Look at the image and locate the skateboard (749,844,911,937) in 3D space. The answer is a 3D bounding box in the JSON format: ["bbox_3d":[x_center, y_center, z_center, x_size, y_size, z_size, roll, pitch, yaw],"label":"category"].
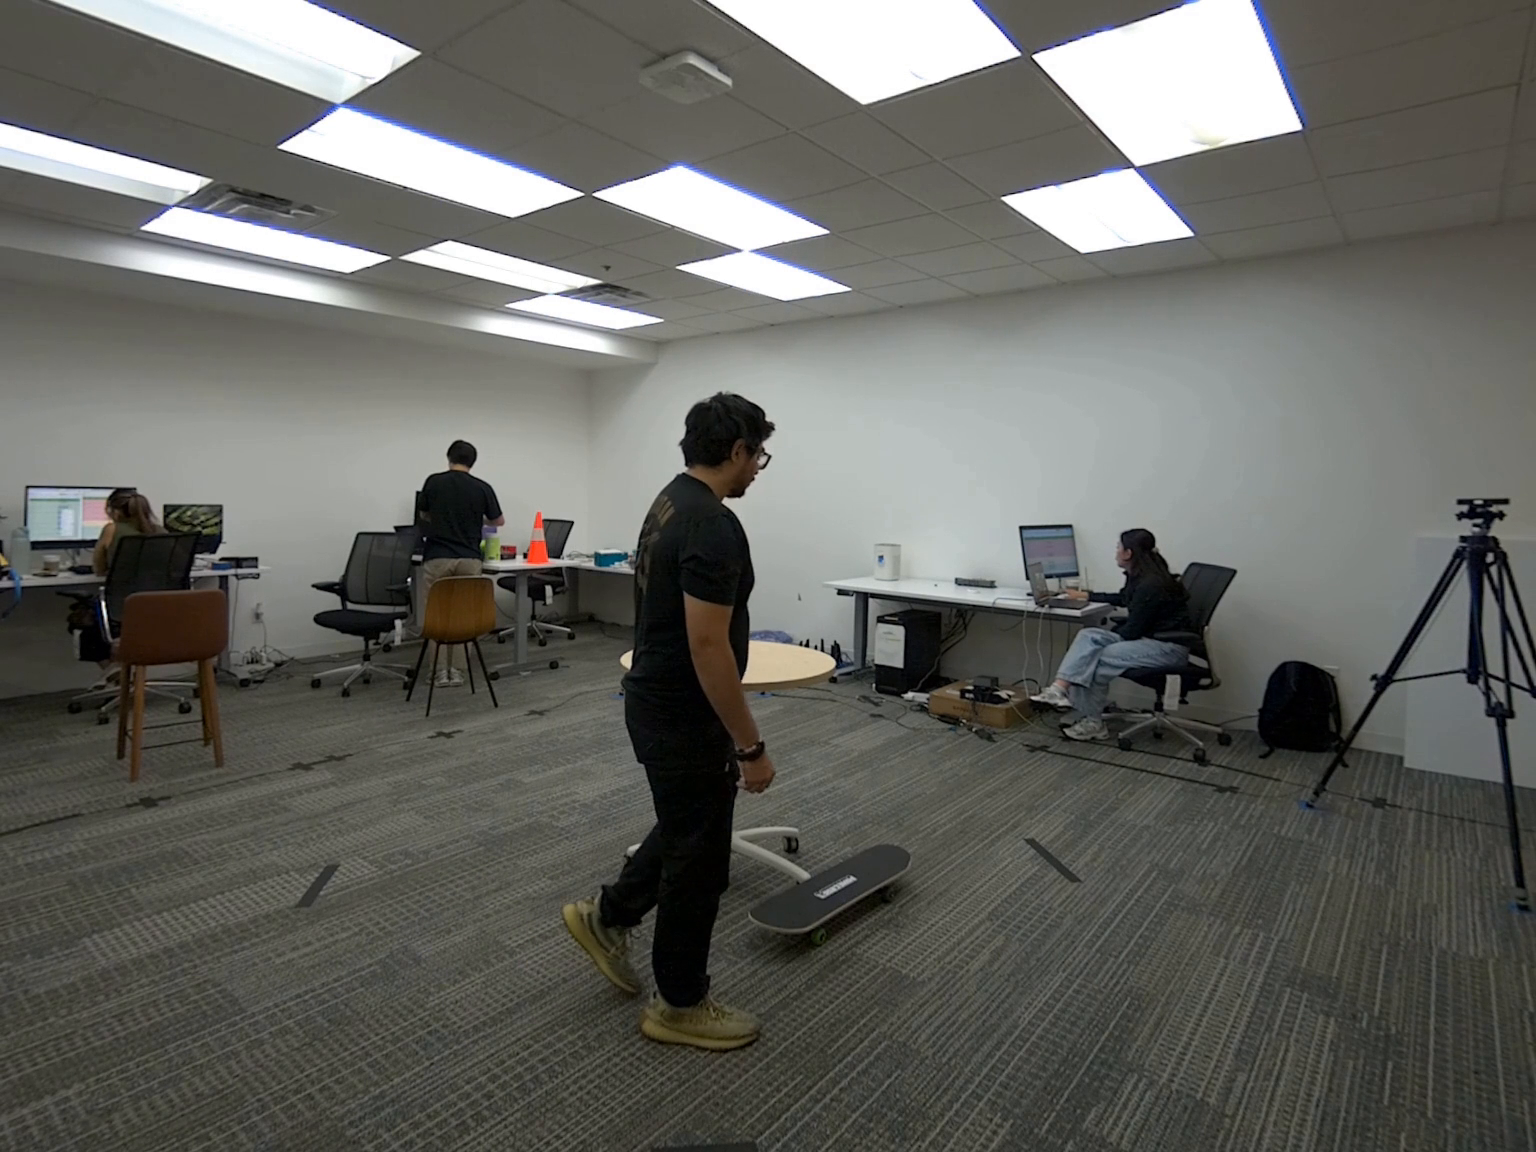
[{"bbox_3d":[0.218,1.053,2.801,0.200,0.110,0.762,6,8,41],"label":"skateboard"}]
